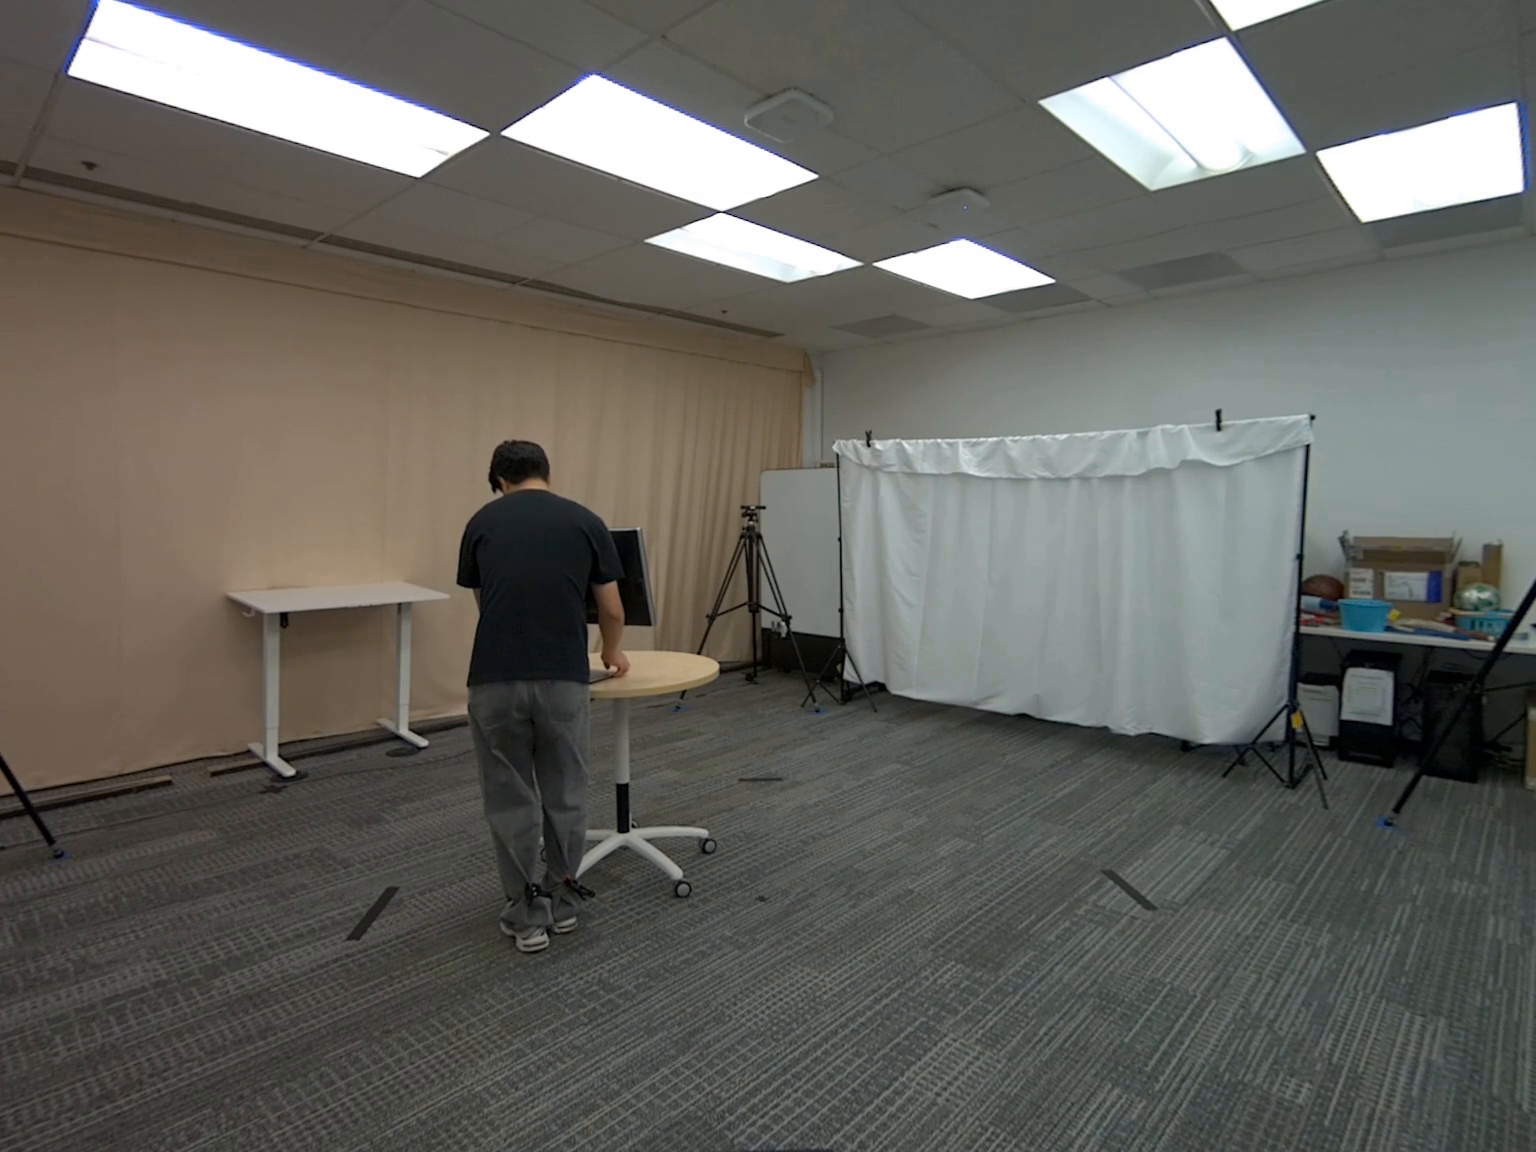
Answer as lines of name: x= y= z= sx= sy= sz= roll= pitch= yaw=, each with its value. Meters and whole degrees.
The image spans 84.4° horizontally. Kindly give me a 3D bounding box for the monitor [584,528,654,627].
monitor: x=-0.692 y=0.106 z=3.062 sx=0.577 sy=0.565 sz=0.216 roll=1 pitch=1 yaw=28
